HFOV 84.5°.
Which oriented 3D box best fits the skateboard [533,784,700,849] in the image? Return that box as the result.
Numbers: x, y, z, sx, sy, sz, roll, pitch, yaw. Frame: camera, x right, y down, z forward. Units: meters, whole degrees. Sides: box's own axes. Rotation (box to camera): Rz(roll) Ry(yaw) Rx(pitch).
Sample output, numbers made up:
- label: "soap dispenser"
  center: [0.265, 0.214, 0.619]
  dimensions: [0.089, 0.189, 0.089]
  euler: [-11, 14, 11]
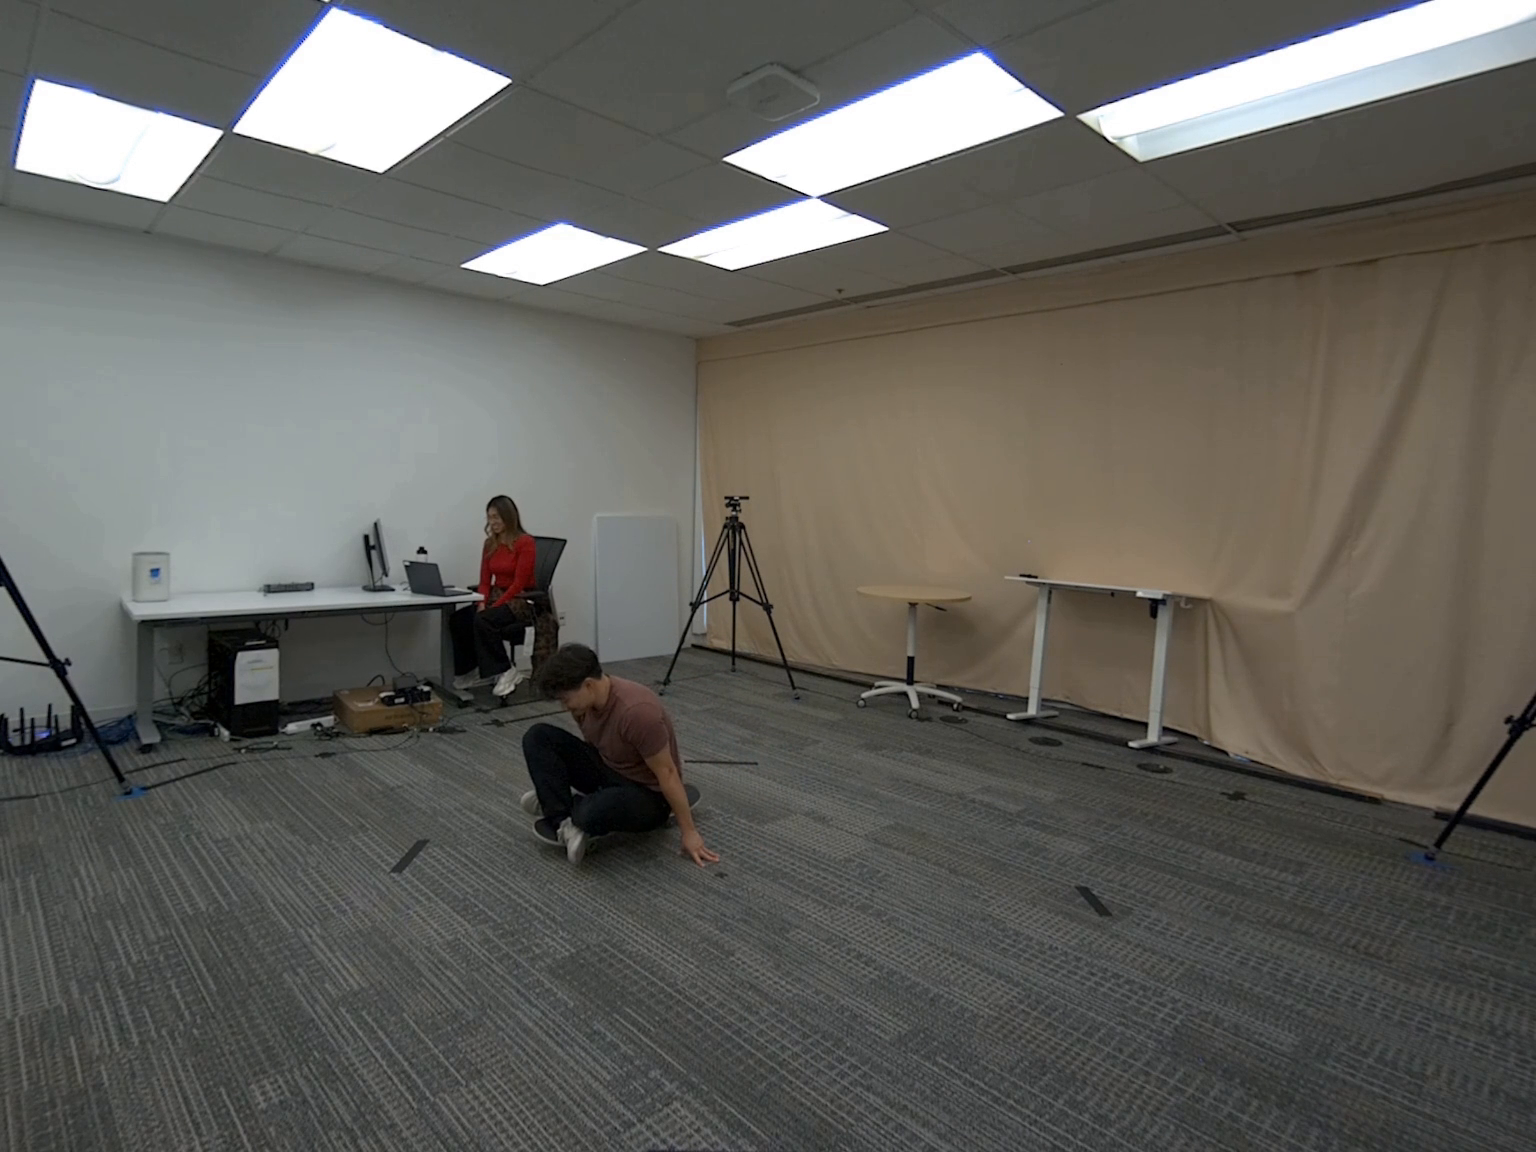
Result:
- label: "skateboard"
  center: [-0.611, 1.007, 3.468]
  dimensions: [0.767, 0.109, 0.199]
  euler: [-3, 19, -44]
